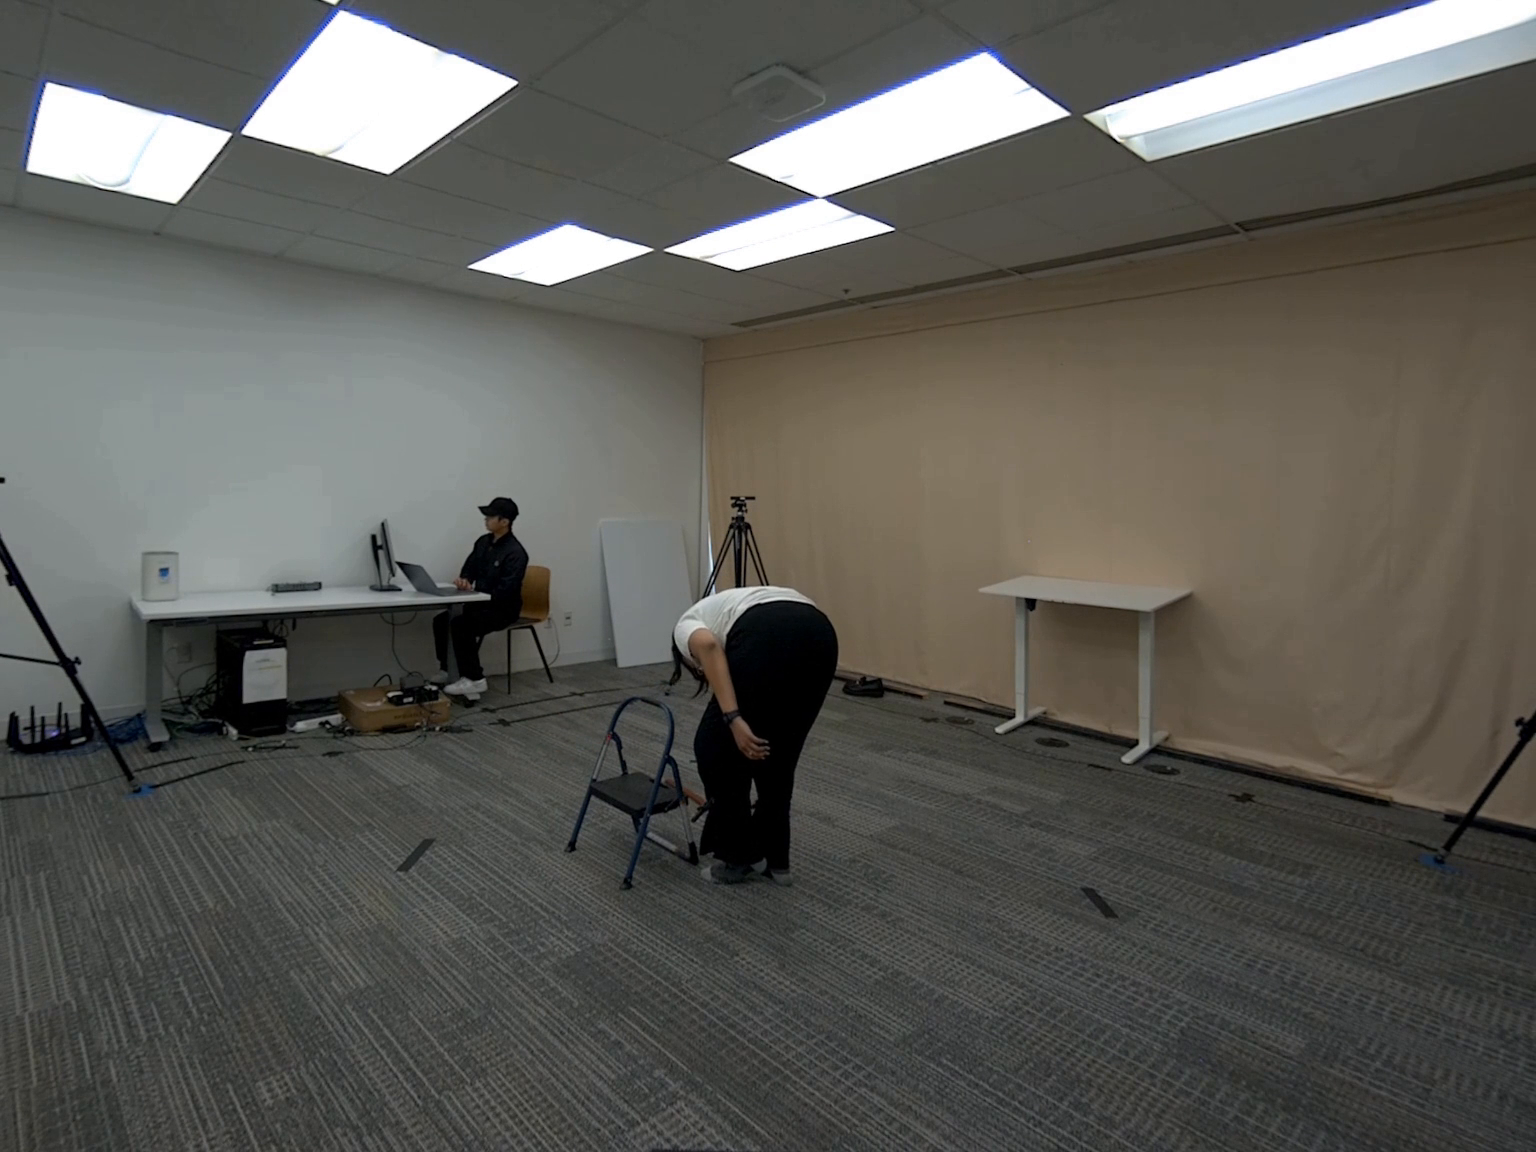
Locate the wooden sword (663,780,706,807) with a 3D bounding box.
[{"bbox_3d":[-0.215,1.040,3.664,0.024,0.050,1.049,-24,17,-28],"label":"wooden sword"}]
